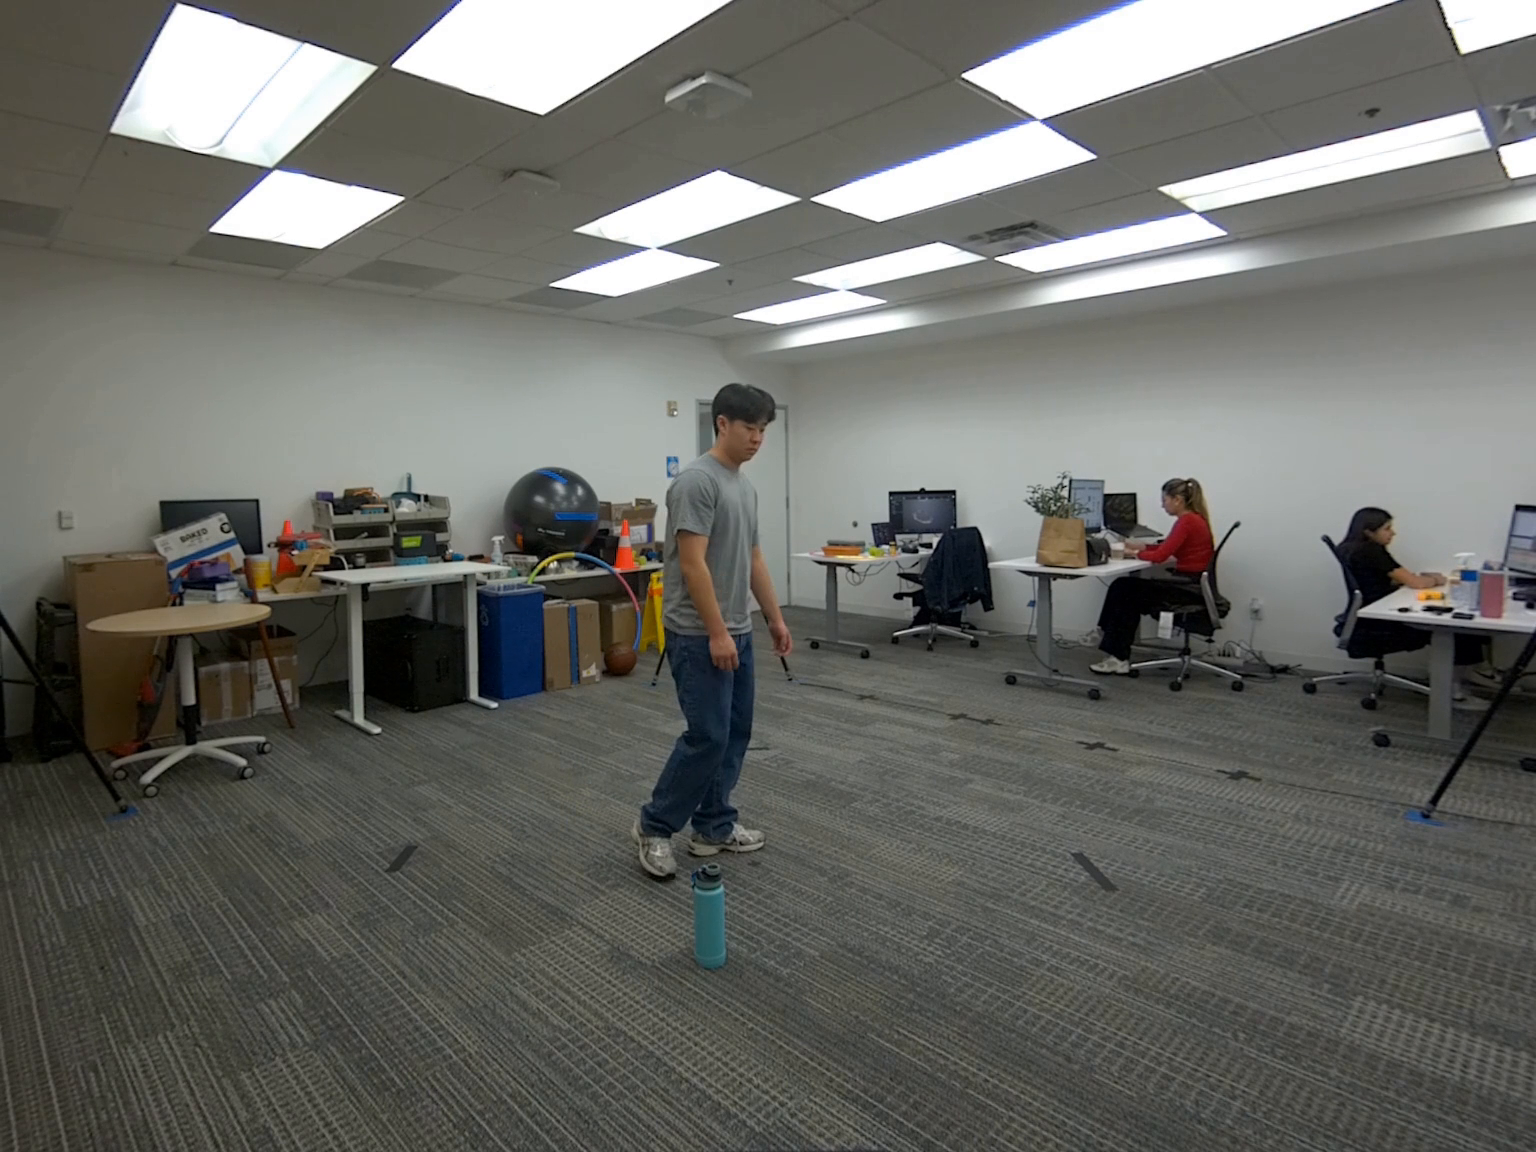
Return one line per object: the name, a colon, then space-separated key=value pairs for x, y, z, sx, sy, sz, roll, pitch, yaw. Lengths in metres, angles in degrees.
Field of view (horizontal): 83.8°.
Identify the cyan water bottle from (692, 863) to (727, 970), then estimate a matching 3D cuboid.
cyan water bottle: x=-0.170 y=0.987 z=2.479 sx=0.092 sy=0.283 sz=0.092 roll=-3 pitch=2 yaw=-1
